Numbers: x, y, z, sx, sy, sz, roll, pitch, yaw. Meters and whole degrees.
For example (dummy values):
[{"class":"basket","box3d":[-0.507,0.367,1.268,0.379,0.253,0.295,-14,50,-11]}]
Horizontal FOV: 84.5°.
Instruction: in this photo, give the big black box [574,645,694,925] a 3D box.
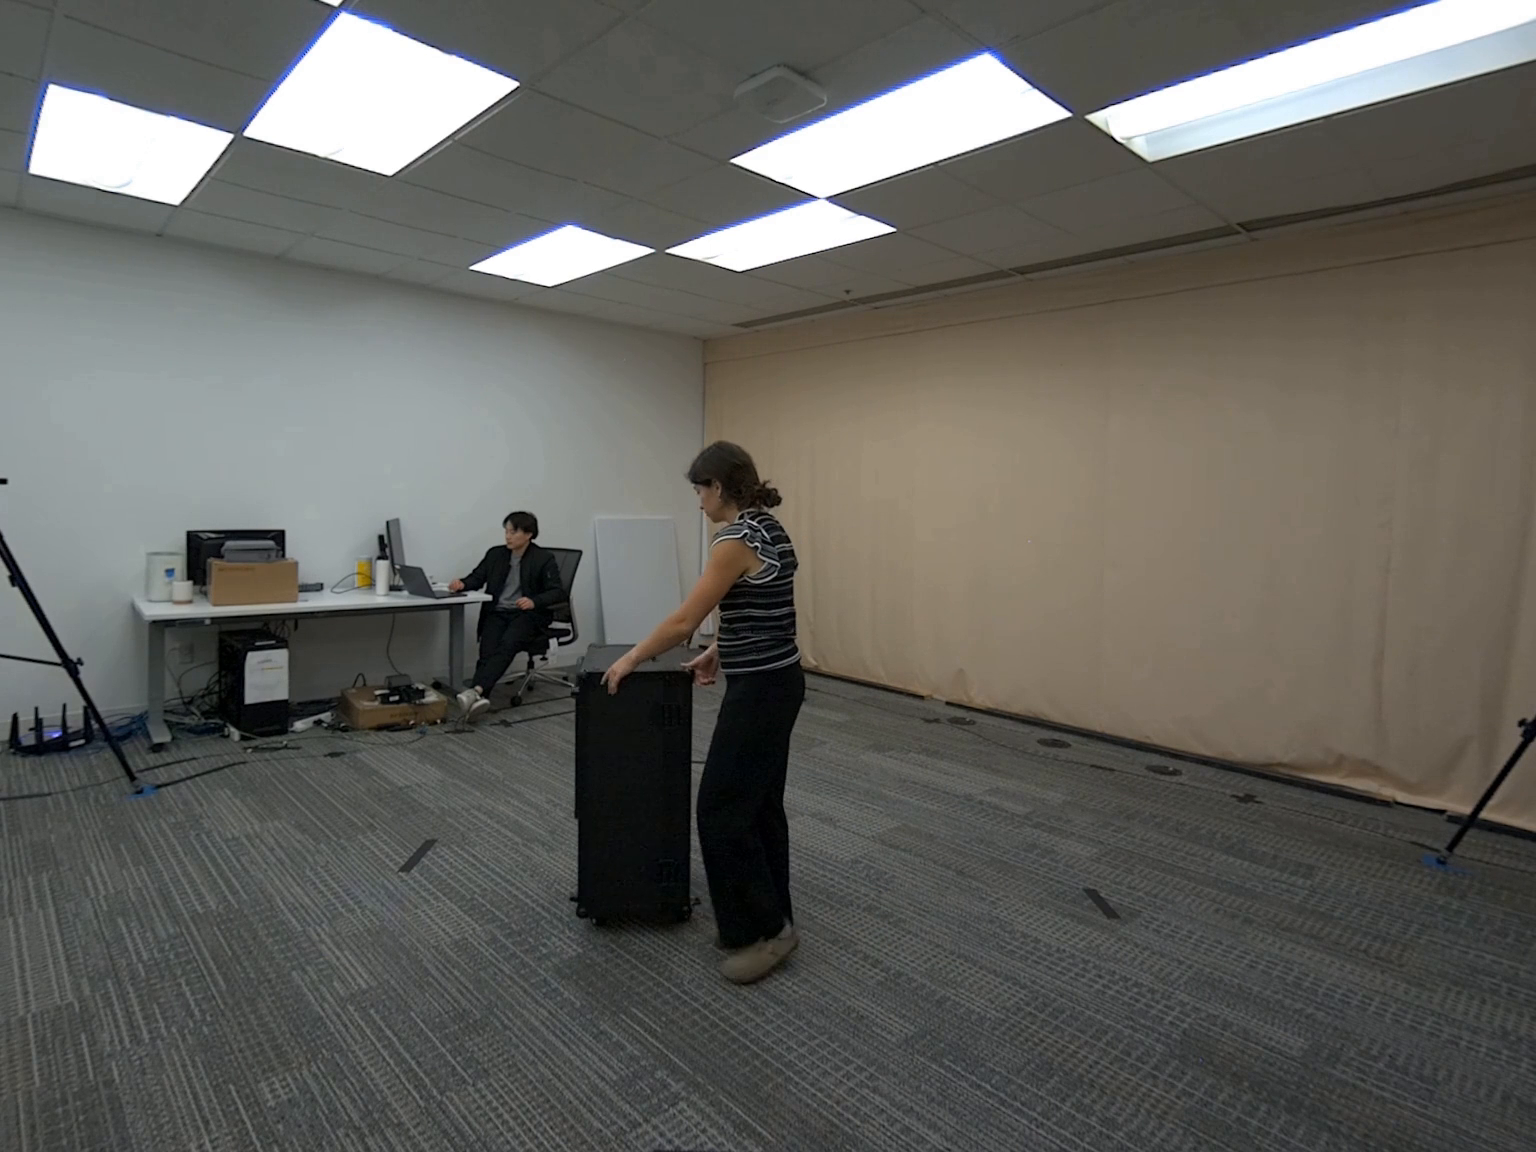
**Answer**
[{"class":"big black box","box3d":[-0.464,0.700,2.856,0.394,0.859,0.525,0,4,-7]}]
